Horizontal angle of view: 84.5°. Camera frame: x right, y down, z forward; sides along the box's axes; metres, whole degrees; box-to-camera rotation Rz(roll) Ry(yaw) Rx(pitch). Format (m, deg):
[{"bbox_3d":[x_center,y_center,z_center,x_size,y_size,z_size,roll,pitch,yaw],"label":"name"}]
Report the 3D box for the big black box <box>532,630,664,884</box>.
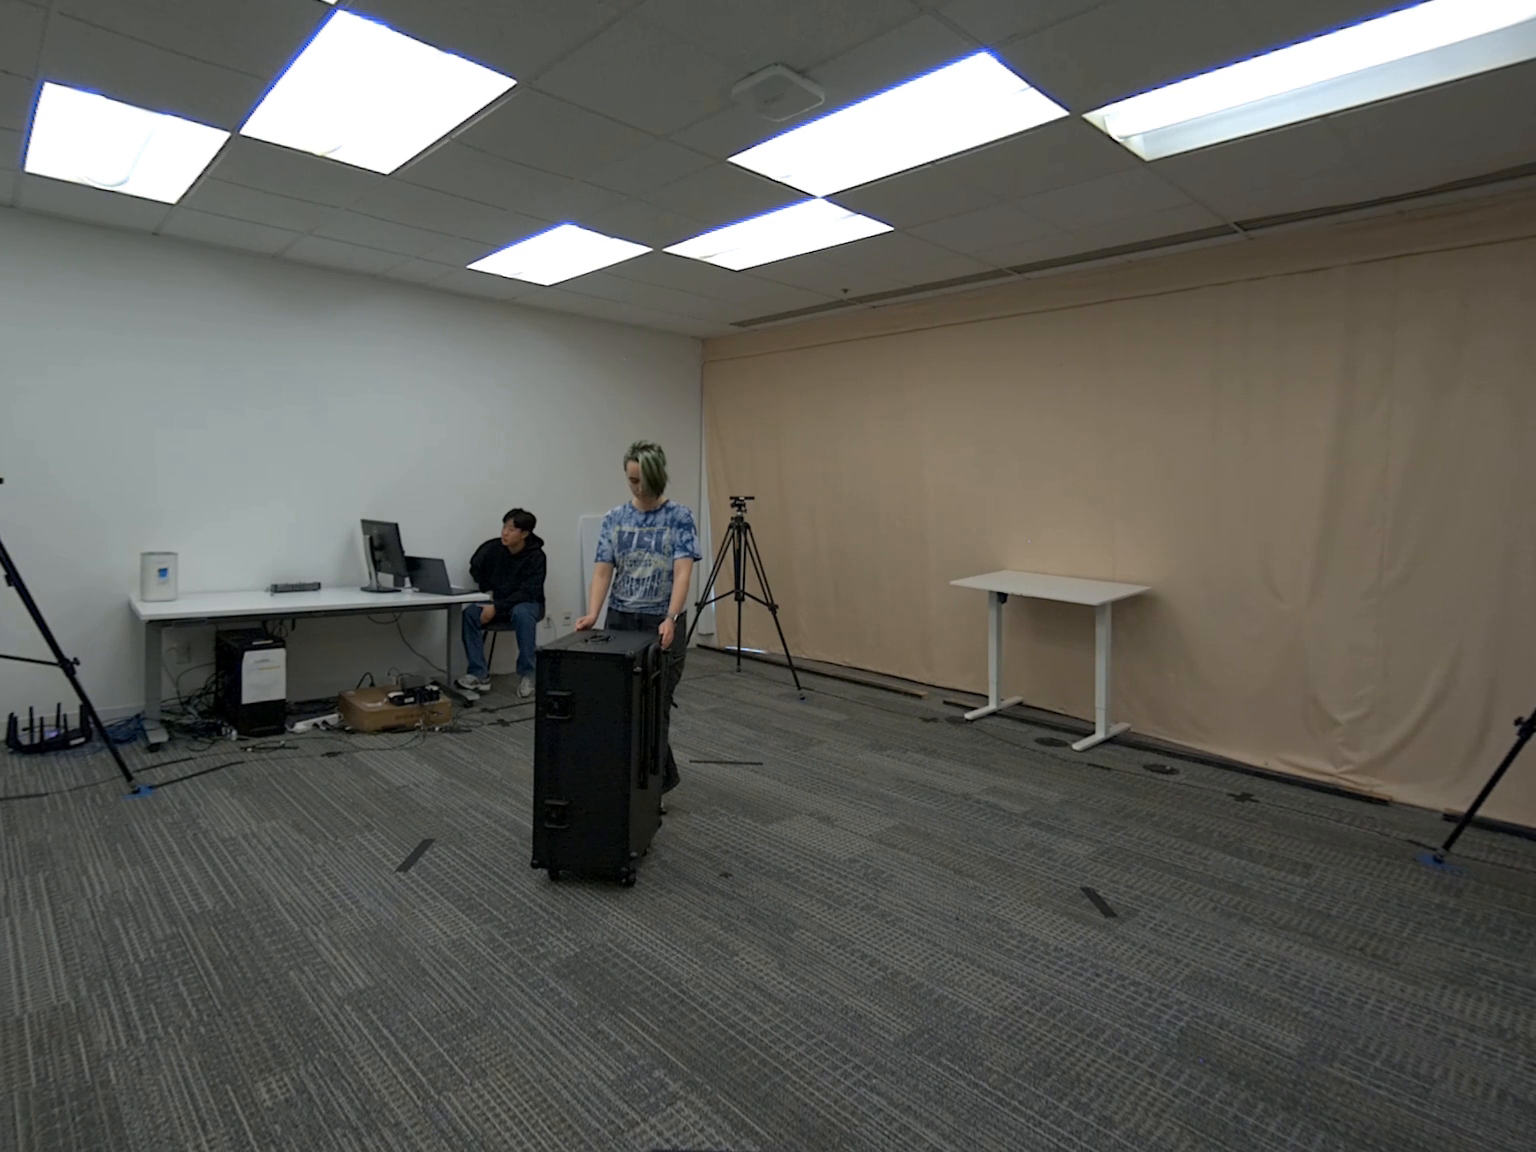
[{"bbox_3d":[-0.626,0.673,3.156,0.399,0.860,0.519,2,3,7],"label":"big black box"}]
